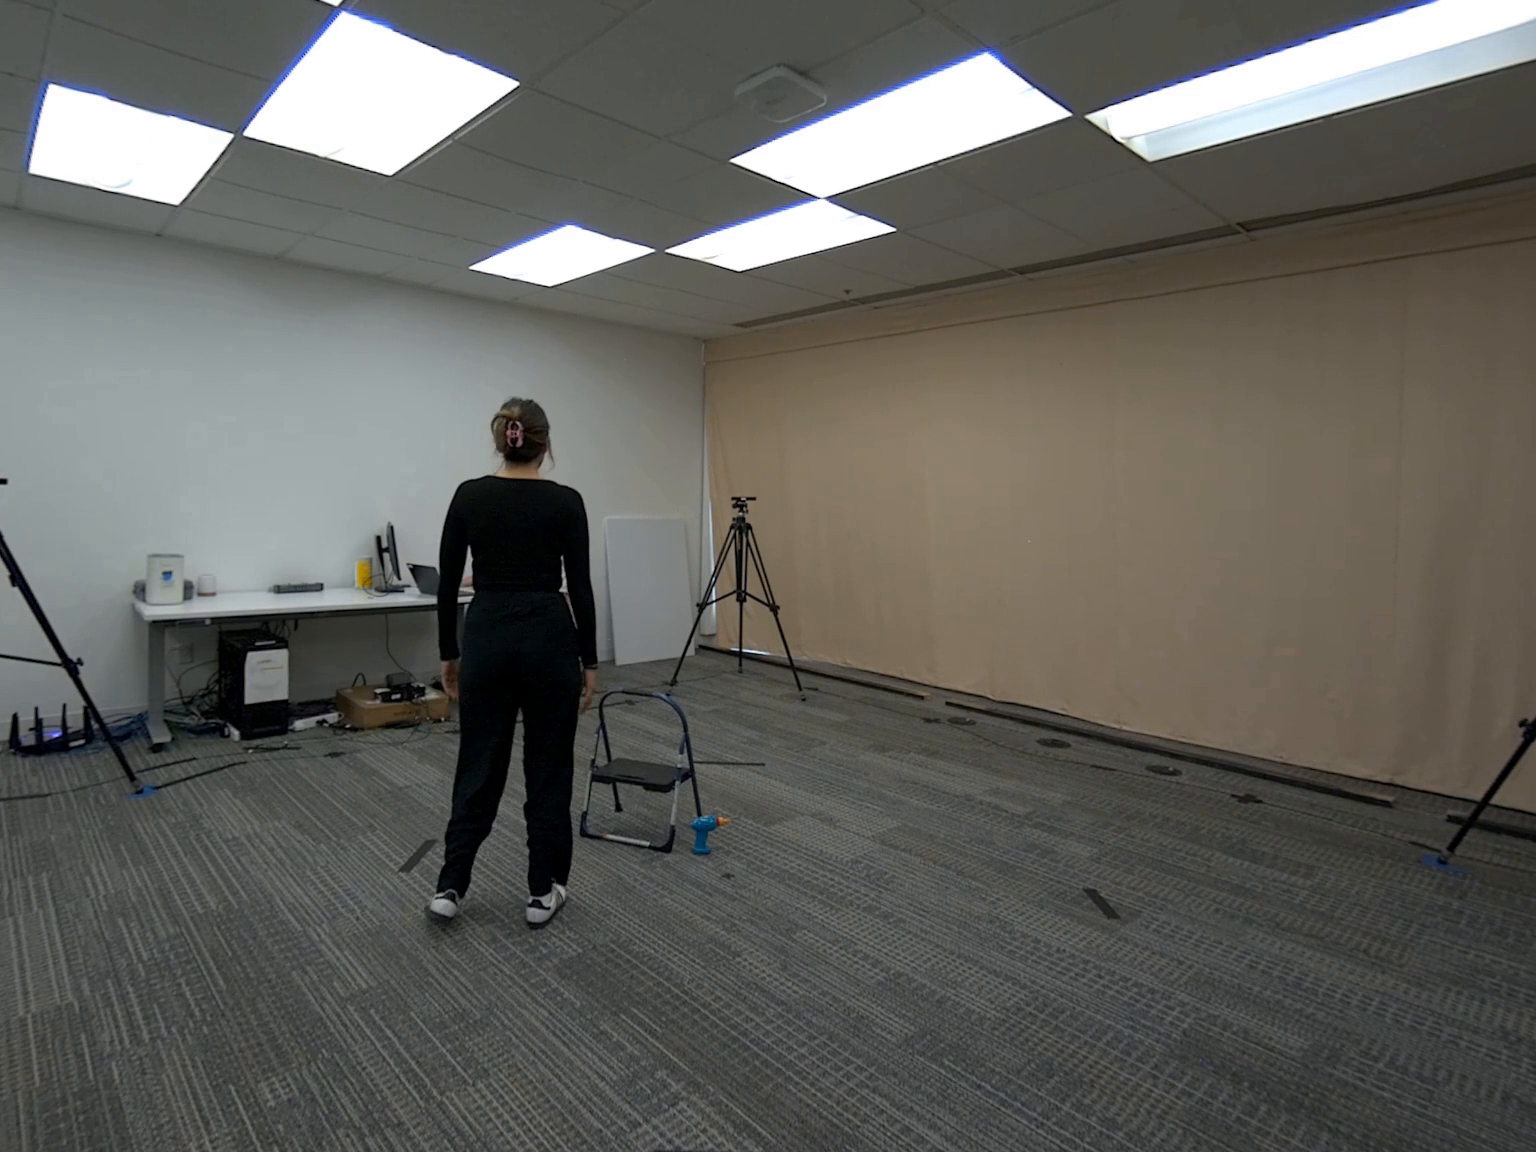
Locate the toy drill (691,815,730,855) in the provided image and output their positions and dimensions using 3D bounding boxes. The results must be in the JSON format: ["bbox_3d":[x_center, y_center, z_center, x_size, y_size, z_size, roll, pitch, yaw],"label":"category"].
[{"bbox_3d":[-0.236,1.019,3.311,0.167,0.145,0.062,1,5,-23],"label":"toy drill"}]
